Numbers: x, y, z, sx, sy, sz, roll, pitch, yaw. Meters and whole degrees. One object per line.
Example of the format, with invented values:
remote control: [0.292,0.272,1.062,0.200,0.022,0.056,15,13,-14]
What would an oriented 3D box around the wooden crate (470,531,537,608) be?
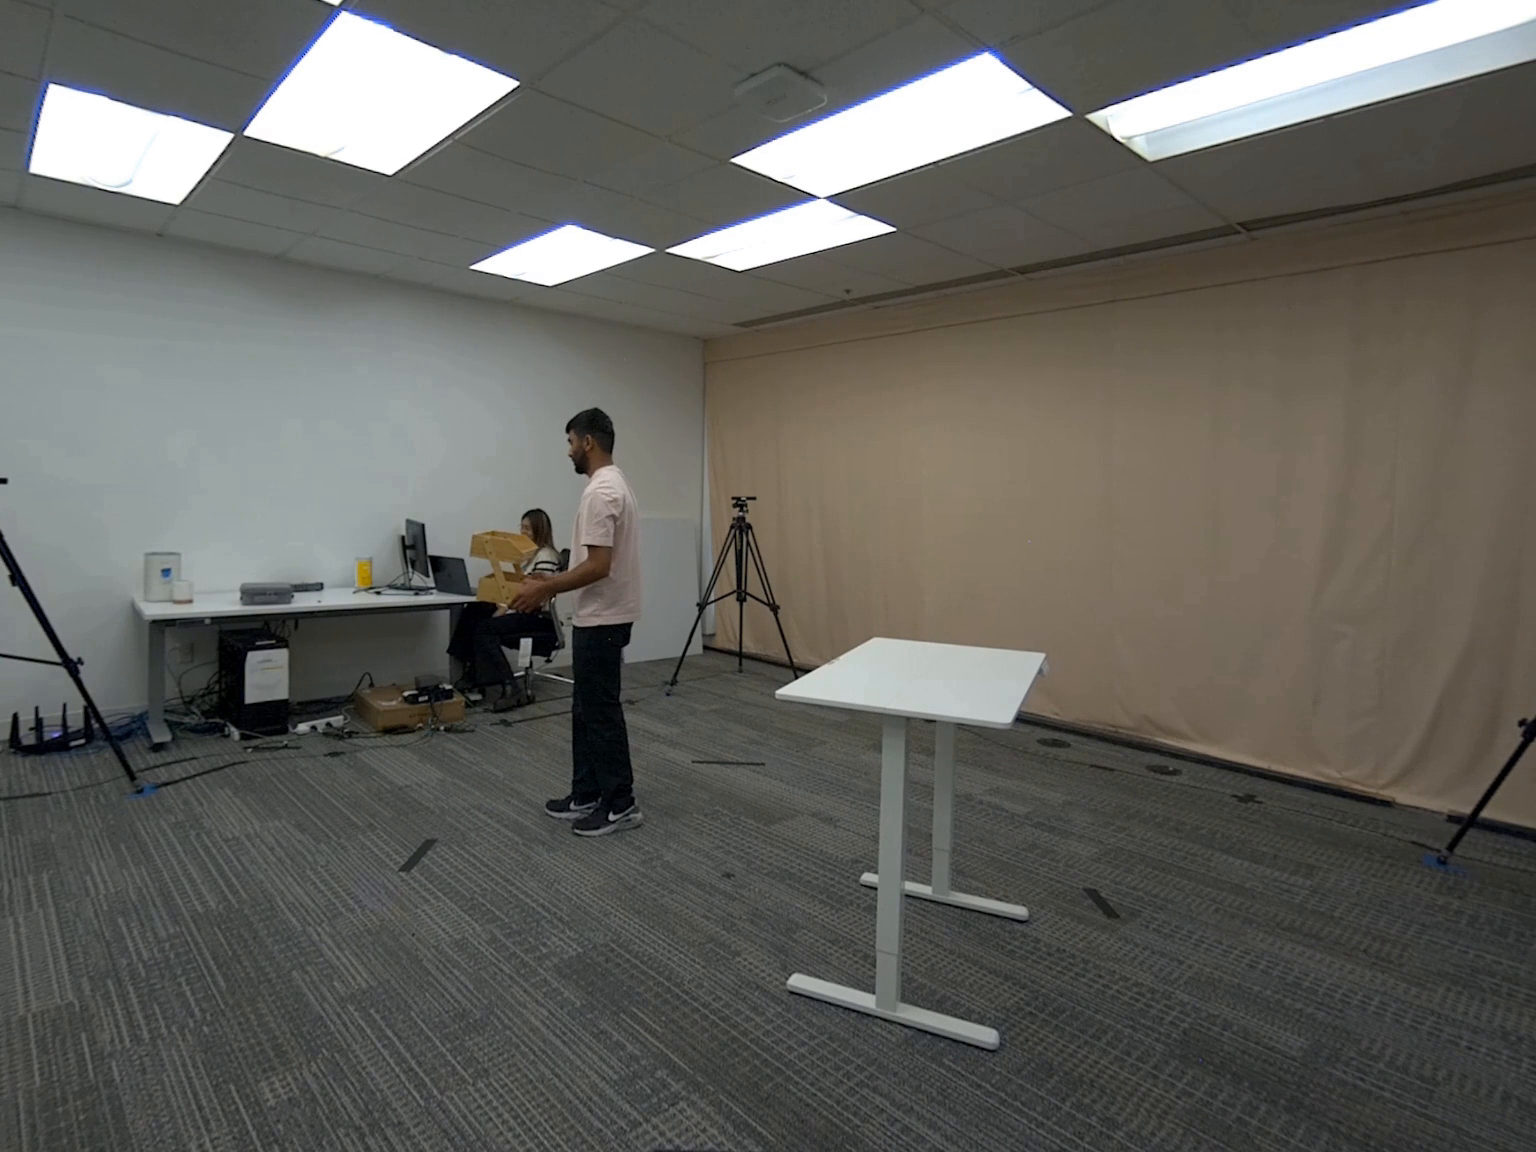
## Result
wooden crate: [-1.057,-0.038,3.515,0.301,0.272,0.326,8,5,-3]
